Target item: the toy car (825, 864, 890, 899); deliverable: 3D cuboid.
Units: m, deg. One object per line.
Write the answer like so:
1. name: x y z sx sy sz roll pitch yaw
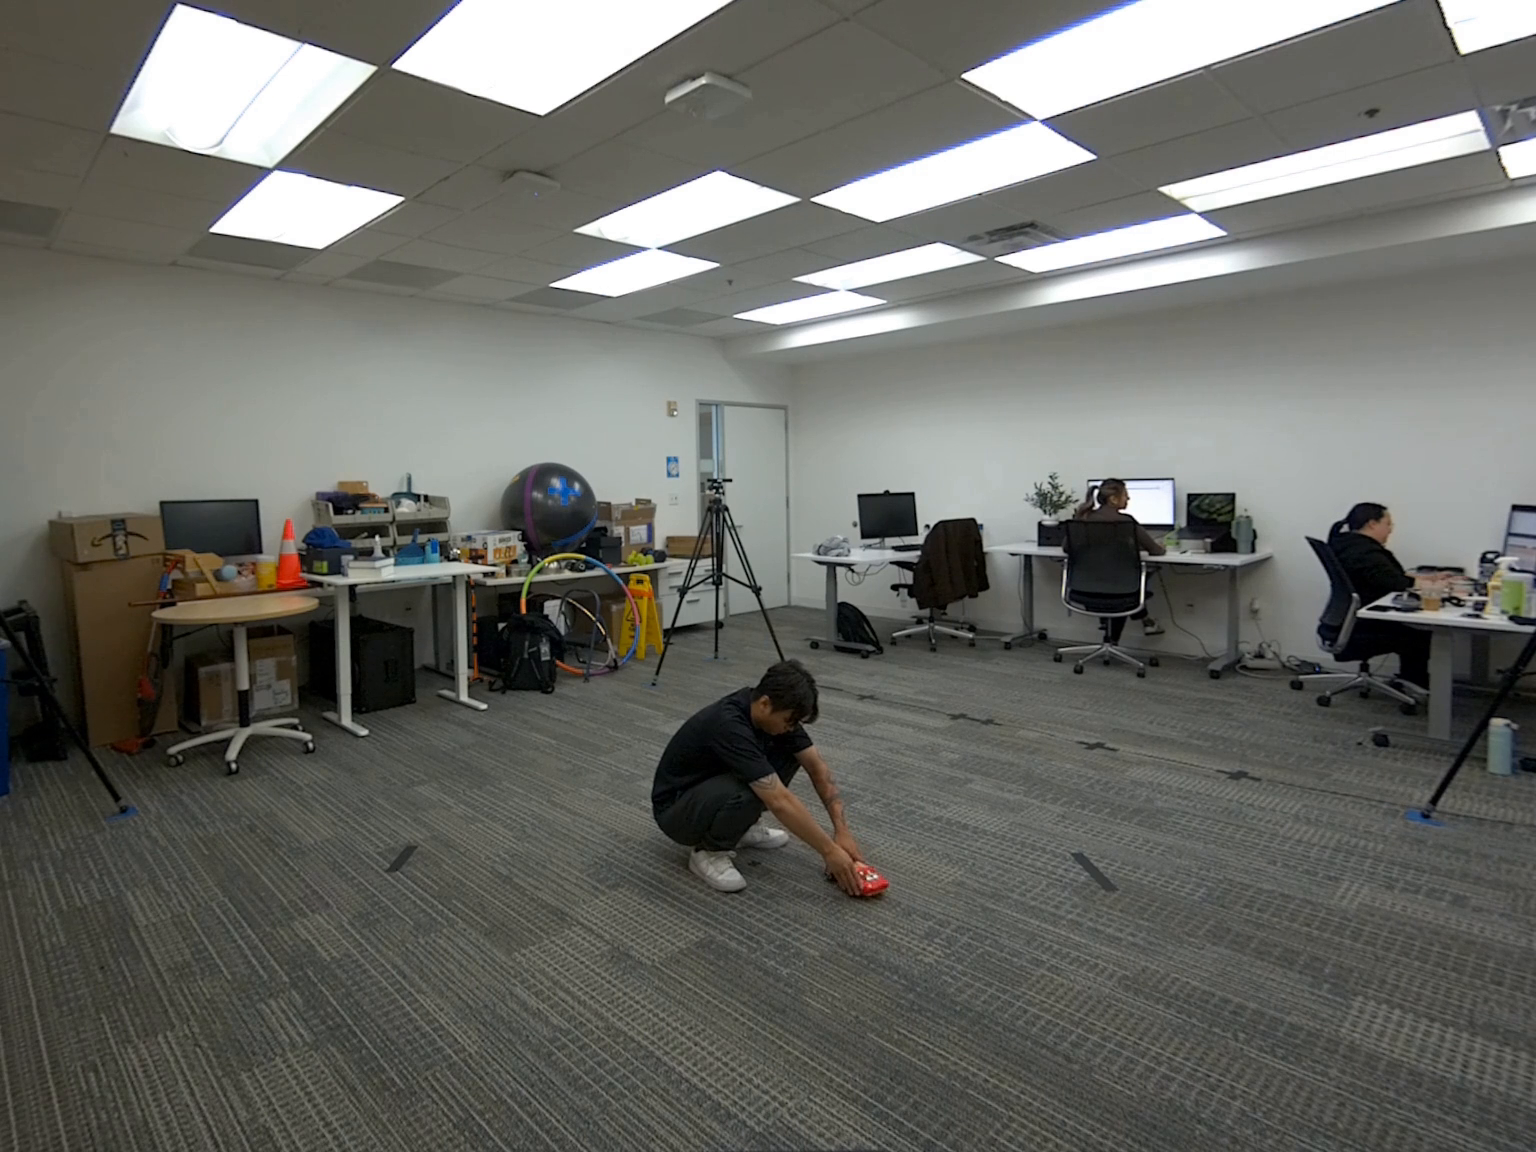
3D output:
1. toy car: 0.306 1.026 2.909 0.127 0.084 0.259 -2 -6 -30
